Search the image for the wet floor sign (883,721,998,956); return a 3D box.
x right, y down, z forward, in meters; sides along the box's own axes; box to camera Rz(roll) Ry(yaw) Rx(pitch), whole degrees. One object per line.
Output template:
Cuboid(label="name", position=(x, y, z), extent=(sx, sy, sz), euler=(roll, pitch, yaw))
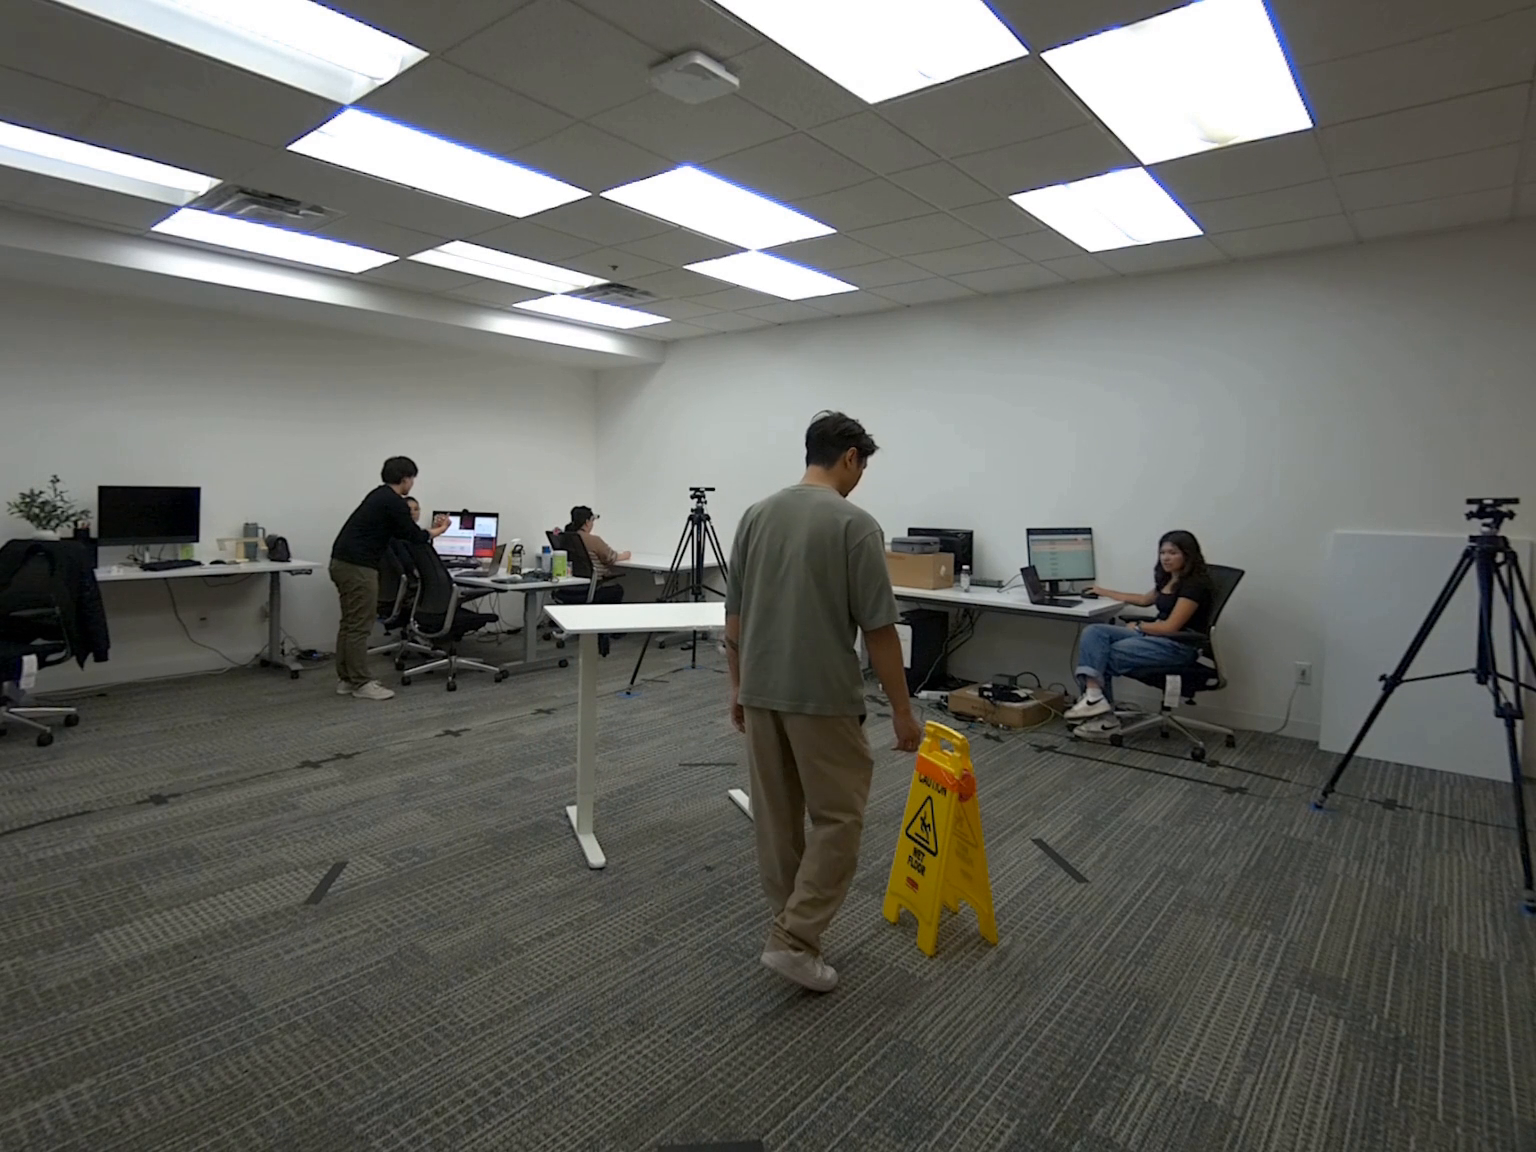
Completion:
Cuboid(label="wet floor sign", position=(0.548, 0.797, 2.702), extent=(0.284, 0.644, 0.289), euler=(1, 4, -21))
